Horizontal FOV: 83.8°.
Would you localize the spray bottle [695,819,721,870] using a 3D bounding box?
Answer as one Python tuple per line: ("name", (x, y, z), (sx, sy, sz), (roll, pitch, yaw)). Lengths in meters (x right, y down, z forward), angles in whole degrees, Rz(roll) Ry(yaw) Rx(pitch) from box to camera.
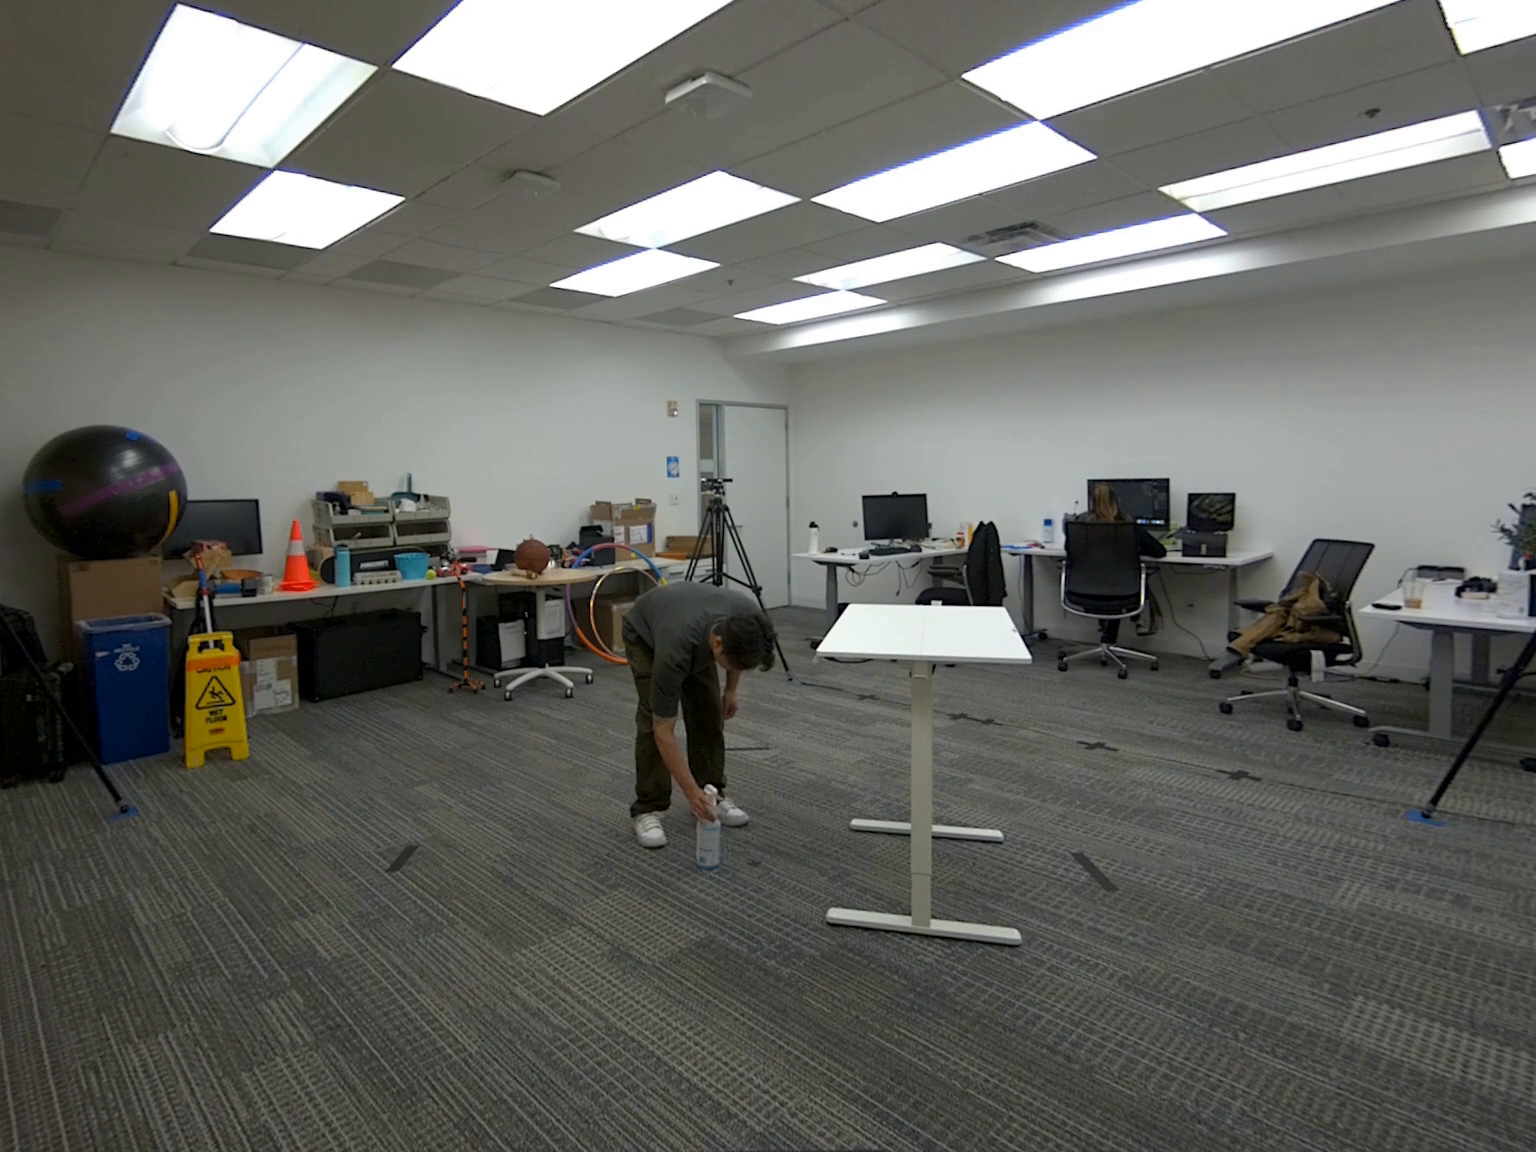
("spray bottle", (-0.214, 0.908, 3.091), (0.087, 0.296, 0.090), (2, 6, -1))
